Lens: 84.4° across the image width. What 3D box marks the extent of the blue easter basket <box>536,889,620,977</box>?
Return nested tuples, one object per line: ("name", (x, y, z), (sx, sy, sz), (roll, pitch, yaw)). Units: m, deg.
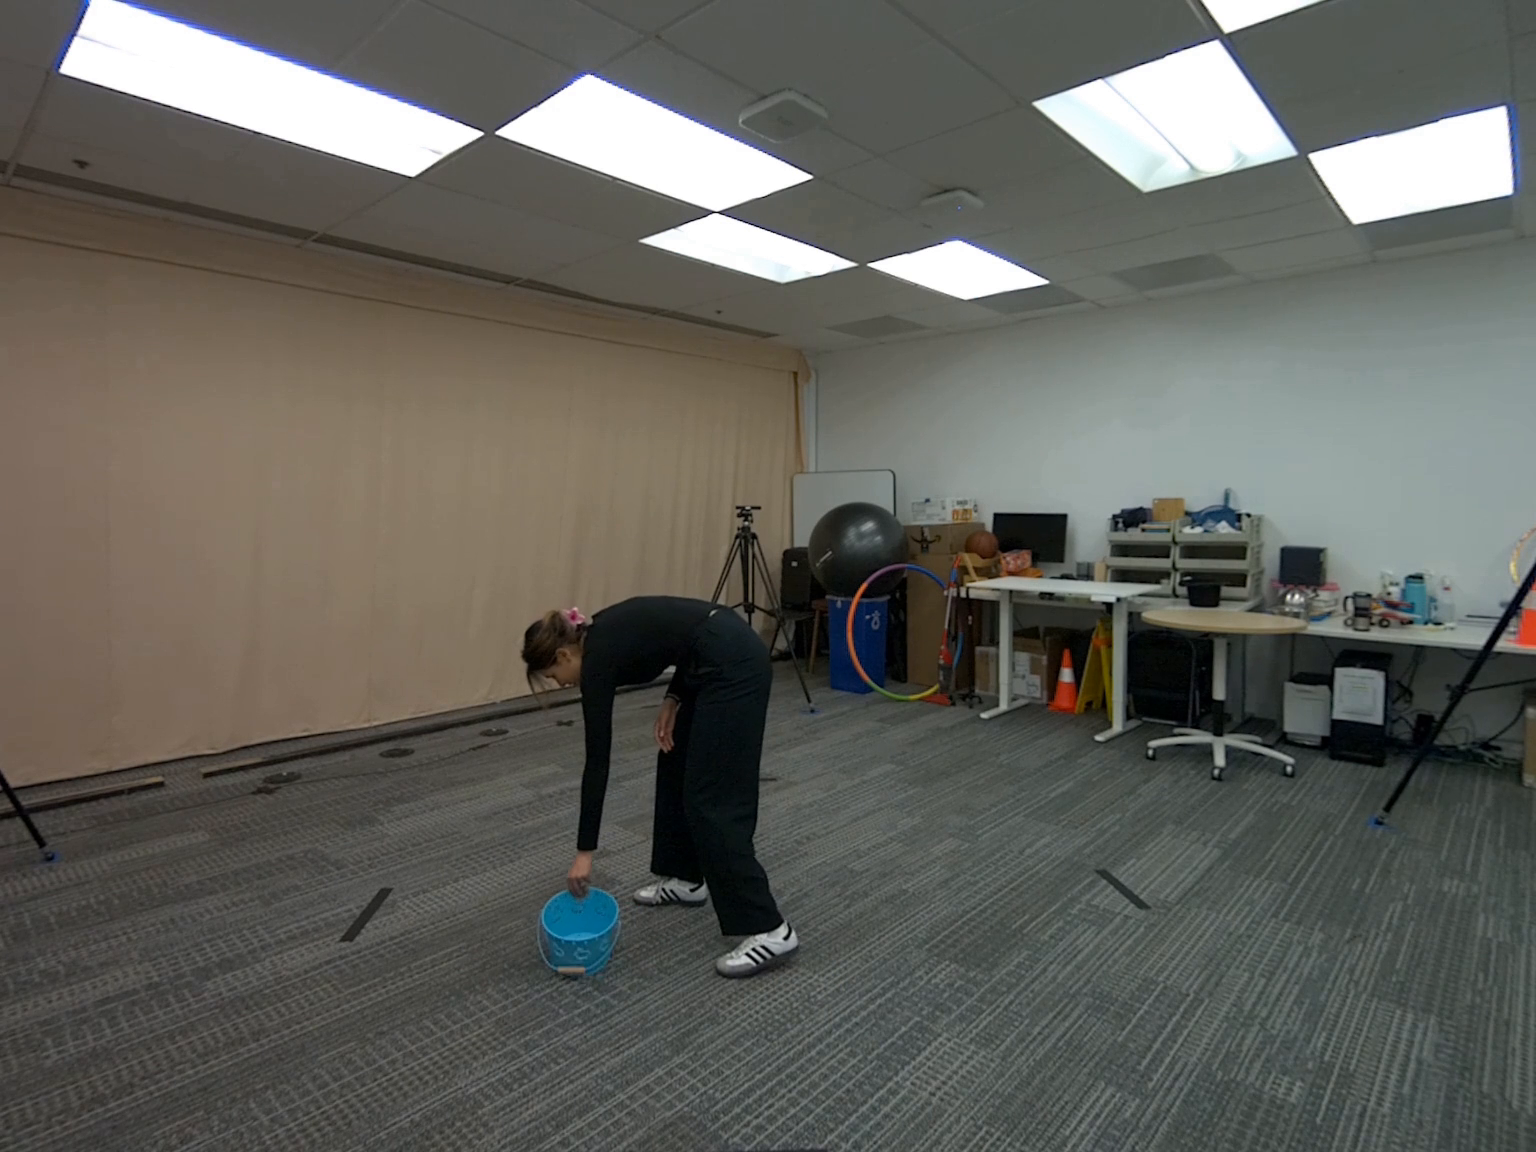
("blue easter basket", (-0.559, 1.092, 2.555), (0.243, 0.155, 0.246), (1, 13, -2))
